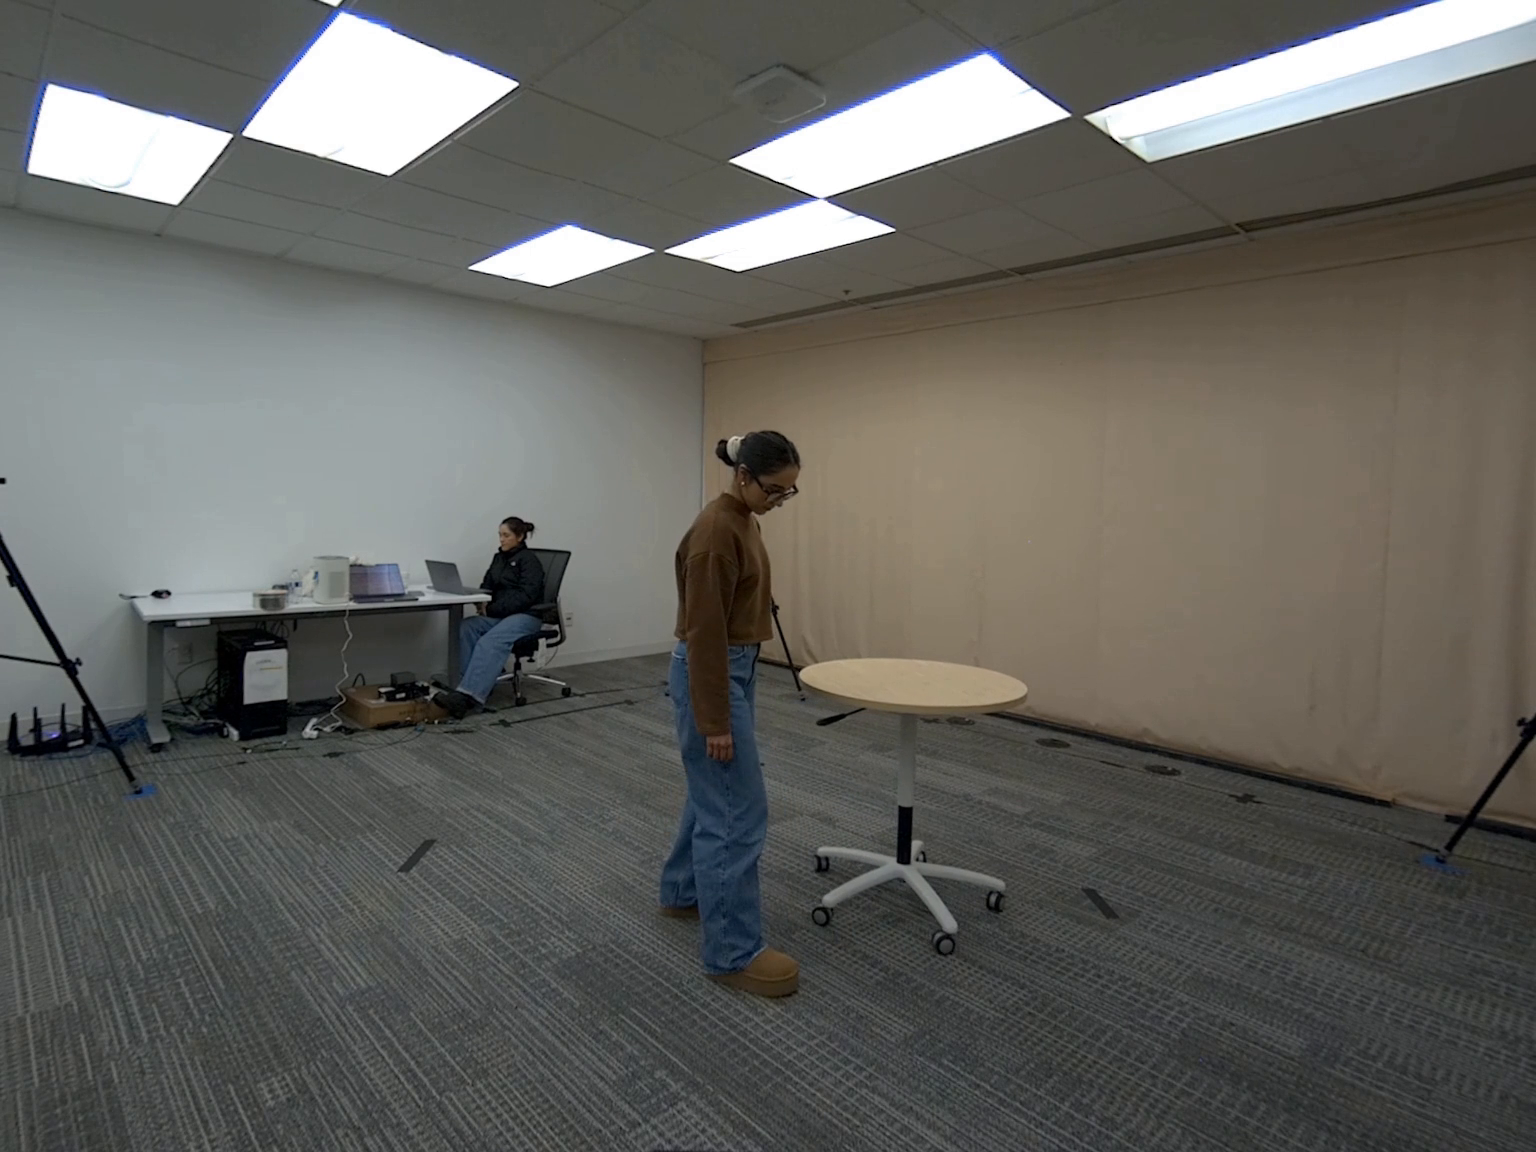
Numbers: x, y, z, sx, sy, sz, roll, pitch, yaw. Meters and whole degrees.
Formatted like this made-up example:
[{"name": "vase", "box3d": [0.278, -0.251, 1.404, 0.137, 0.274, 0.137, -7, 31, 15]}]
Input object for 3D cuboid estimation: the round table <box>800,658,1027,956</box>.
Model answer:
[{"name": "round table", "box3d": [0.466, 0.749, 2.918, 0.763, 0.792, 0.766, 2, 4, -1]}]
